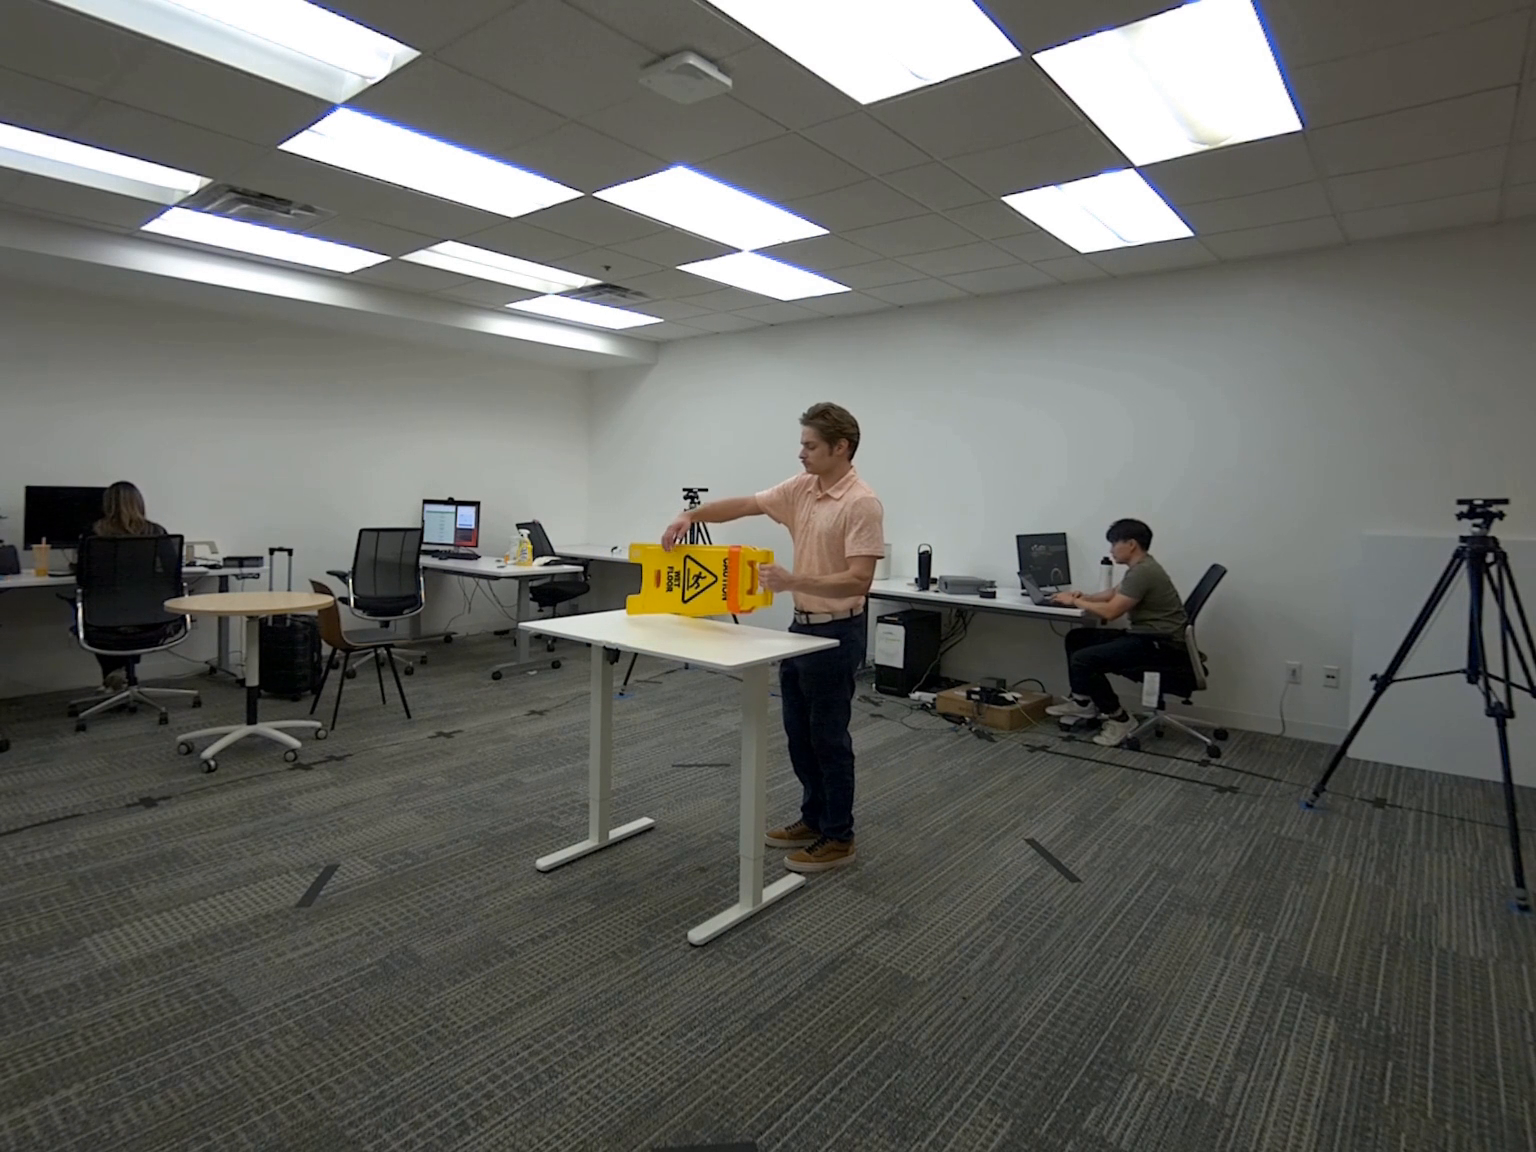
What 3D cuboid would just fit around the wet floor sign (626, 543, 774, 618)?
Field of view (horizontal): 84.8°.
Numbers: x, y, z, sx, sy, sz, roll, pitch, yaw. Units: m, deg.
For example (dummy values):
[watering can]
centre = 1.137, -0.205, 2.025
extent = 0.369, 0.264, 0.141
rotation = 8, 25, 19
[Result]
[wet floor sign]
centre = -0.232, 0.012, 3.143
extent = 0.280, 0.284, 0.665
rotation = 6, -6, -43
